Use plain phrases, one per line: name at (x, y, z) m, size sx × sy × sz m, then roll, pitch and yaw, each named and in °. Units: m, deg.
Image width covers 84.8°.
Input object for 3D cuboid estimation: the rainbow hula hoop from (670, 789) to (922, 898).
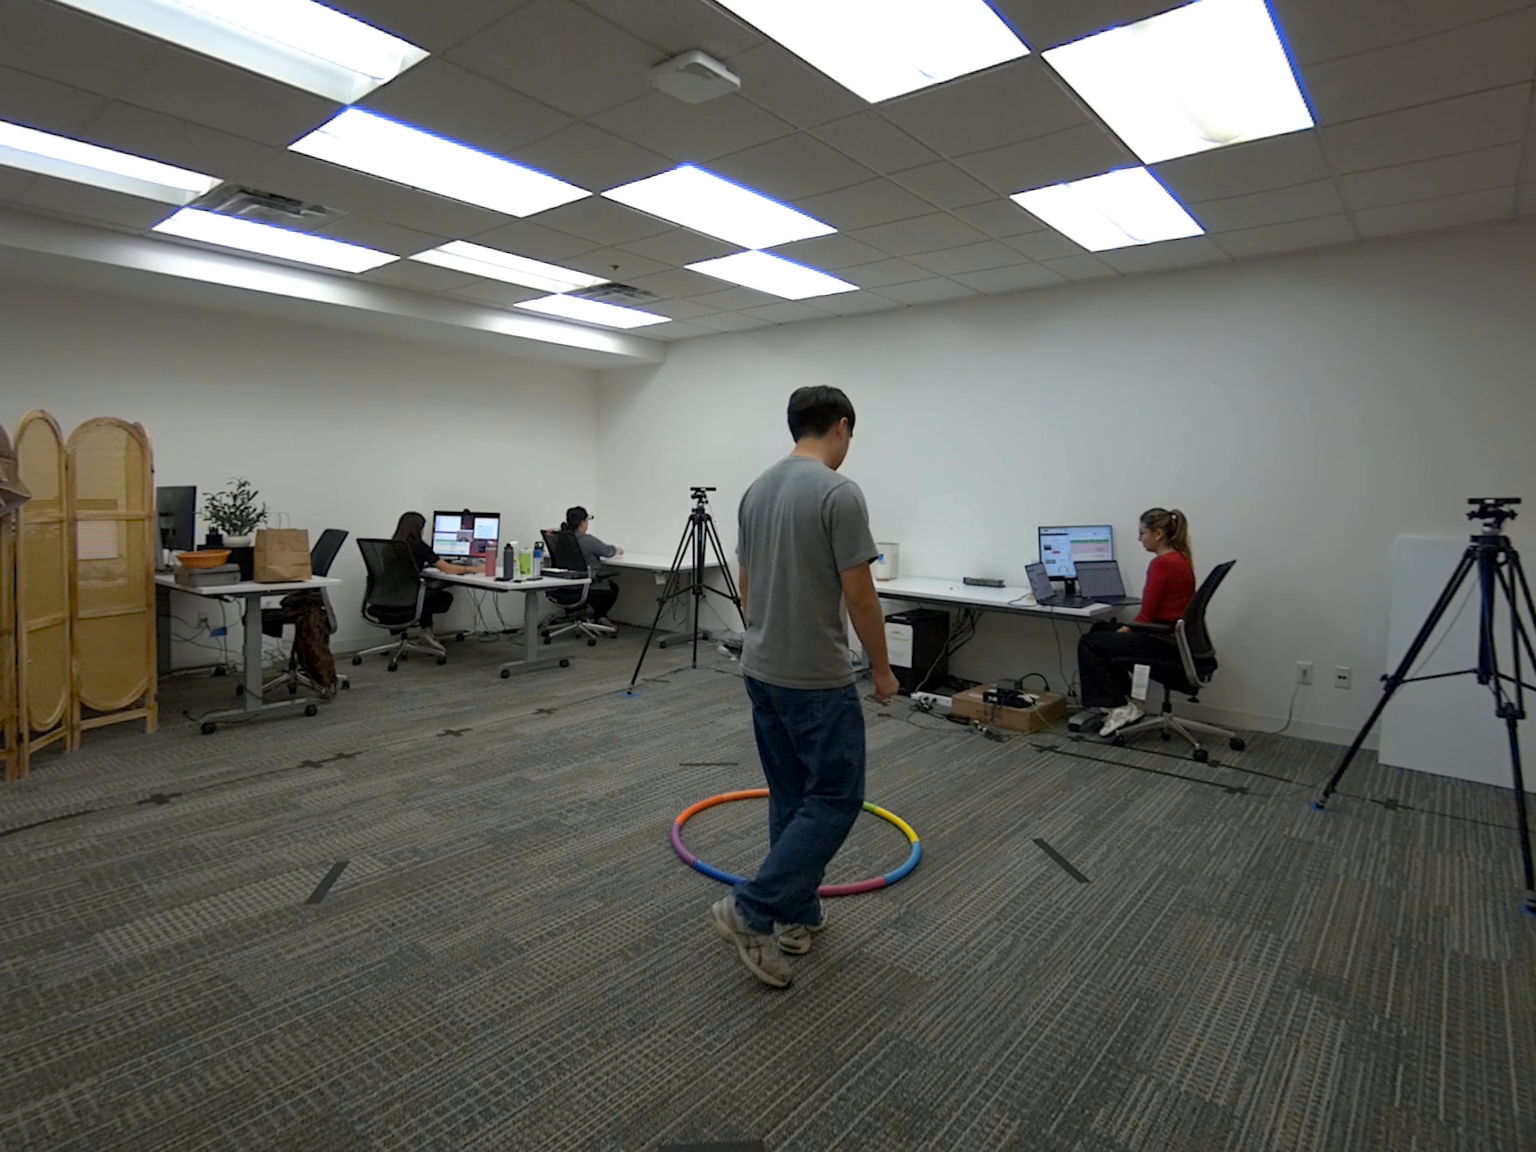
rainbow hula hoop at (0.095, 1.017, 3.379) m, size 0.978 × 0.035 × 0.984 m, roll 1°, pitch 6°, yaw -2°
